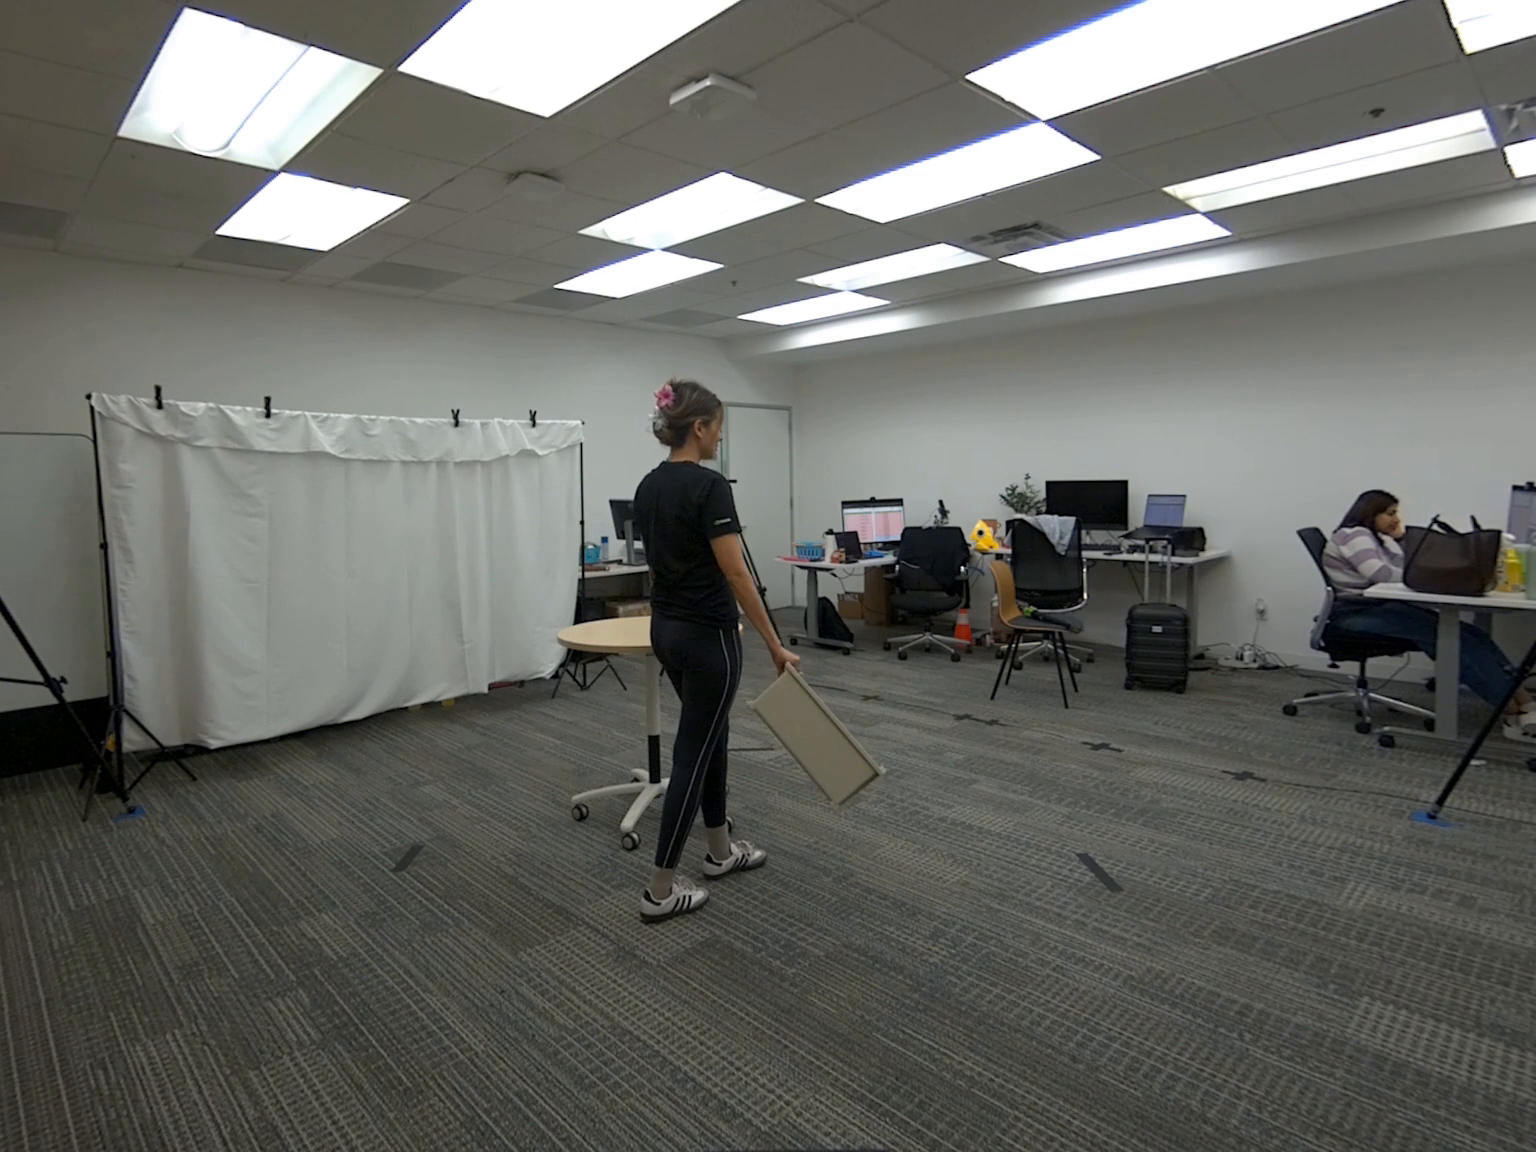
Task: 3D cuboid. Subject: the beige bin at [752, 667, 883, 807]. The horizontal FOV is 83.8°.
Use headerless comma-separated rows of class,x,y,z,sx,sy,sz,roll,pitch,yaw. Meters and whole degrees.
beige bin,0.172,0.505,2.690,0.189,0.432,0.369,-42,-16,2
